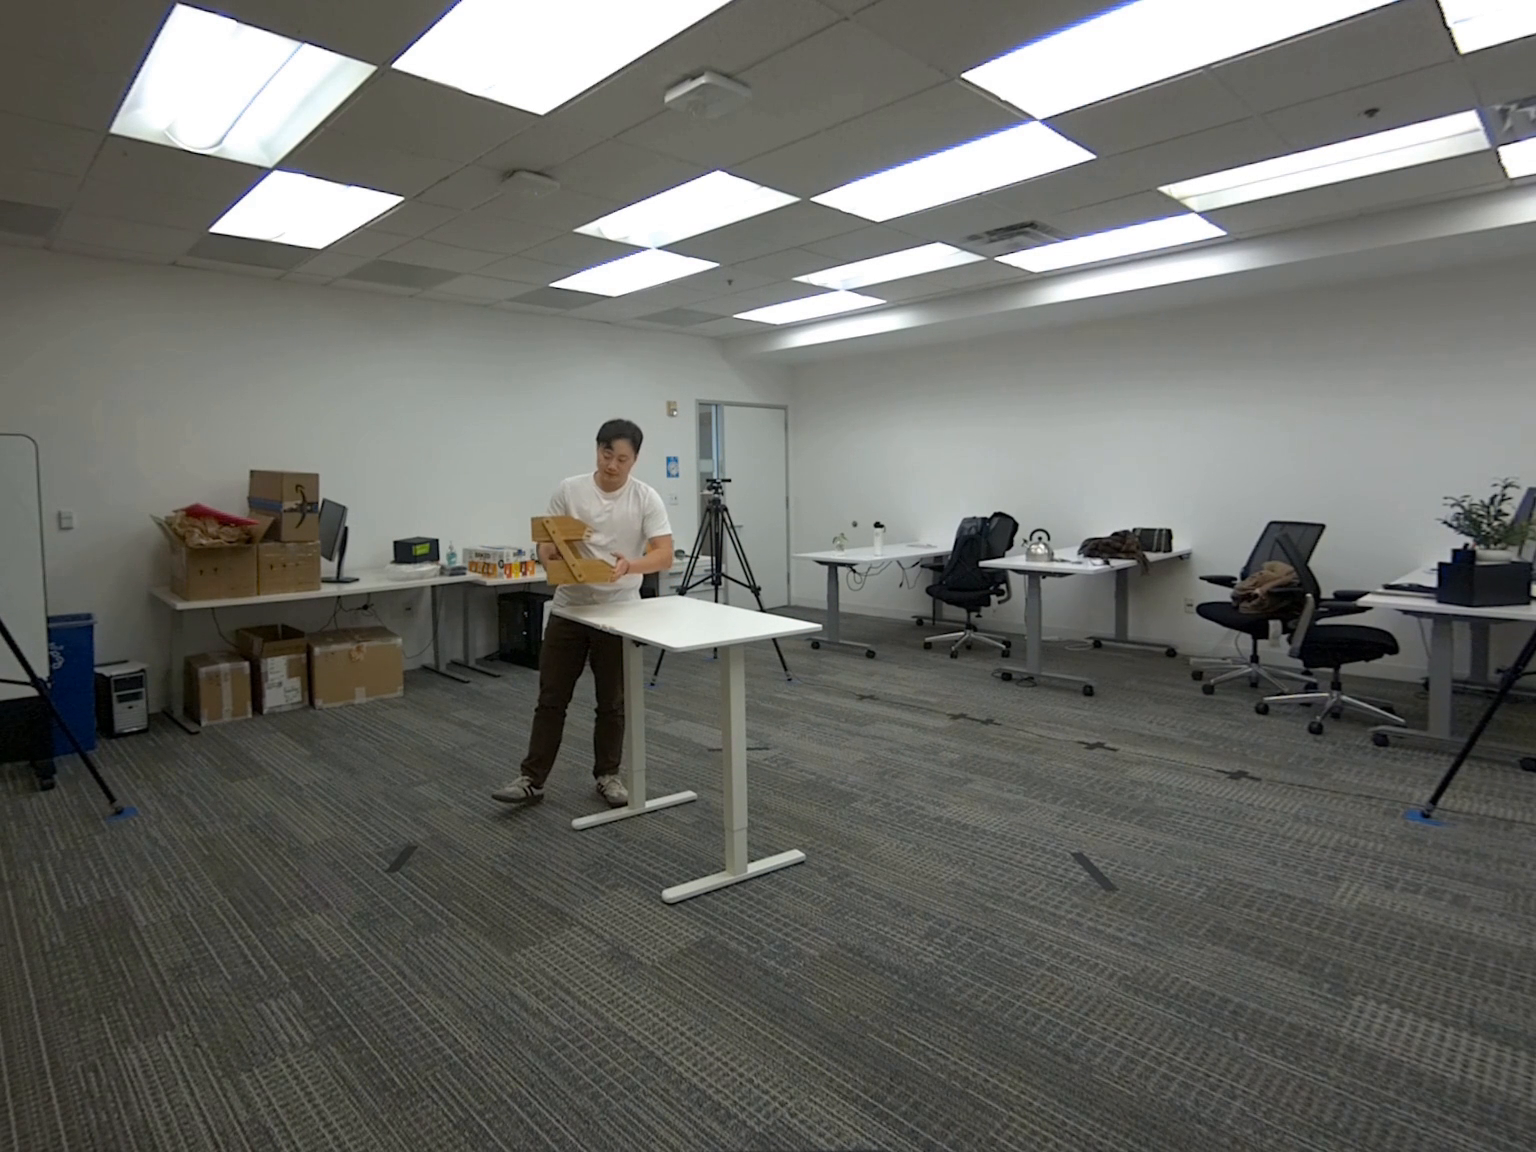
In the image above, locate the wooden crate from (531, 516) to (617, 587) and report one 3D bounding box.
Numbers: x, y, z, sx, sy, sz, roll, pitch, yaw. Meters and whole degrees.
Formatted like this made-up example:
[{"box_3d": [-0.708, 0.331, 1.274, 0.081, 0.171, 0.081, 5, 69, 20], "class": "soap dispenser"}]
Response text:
[{"box_3d": [-0.777, -0.104, 3.390, 0.299, 0.274, 0.327, -2, 0, -10], "class": "wooden crate"}]
